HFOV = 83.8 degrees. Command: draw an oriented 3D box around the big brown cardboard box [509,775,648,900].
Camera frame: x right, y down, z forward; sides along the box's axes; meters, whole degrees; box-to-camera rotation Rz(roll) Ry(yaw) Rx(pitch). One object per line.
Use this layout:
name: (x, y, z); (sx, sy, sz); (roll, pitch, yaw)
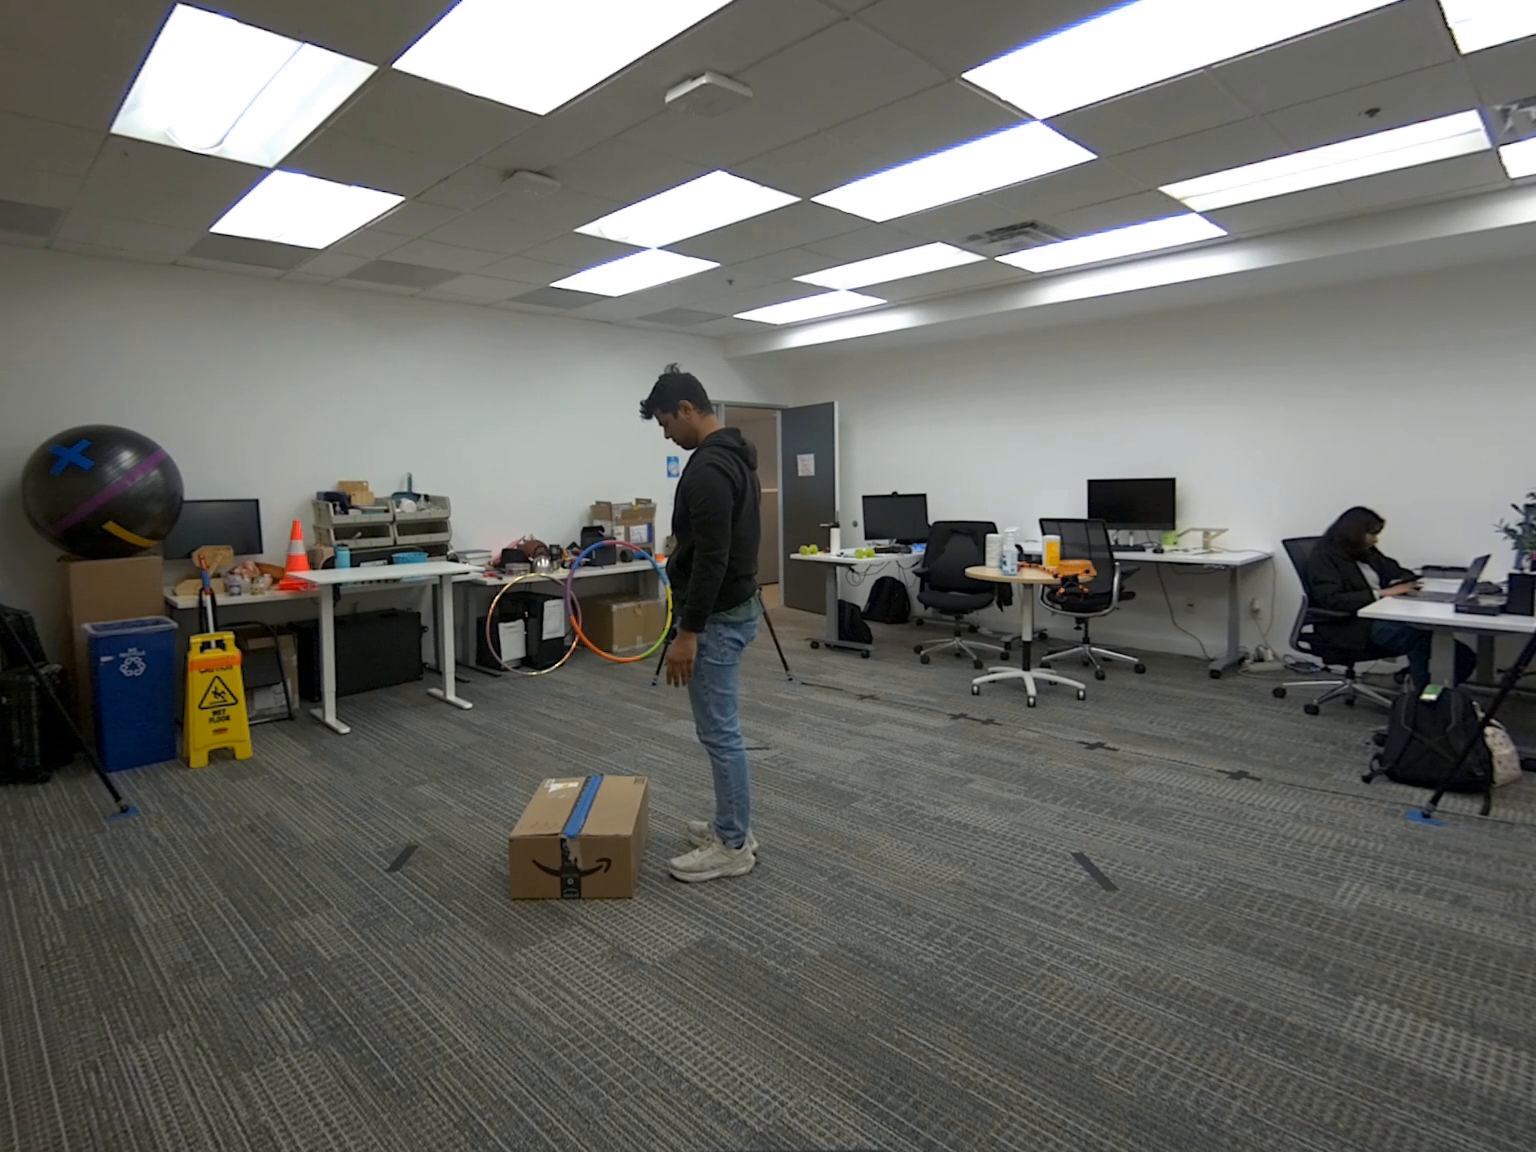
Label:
big brown cardboard box: (-0.675, 0.943, 3.142); (0.417, 0.232, 0.592); (-1, 7, -2)
